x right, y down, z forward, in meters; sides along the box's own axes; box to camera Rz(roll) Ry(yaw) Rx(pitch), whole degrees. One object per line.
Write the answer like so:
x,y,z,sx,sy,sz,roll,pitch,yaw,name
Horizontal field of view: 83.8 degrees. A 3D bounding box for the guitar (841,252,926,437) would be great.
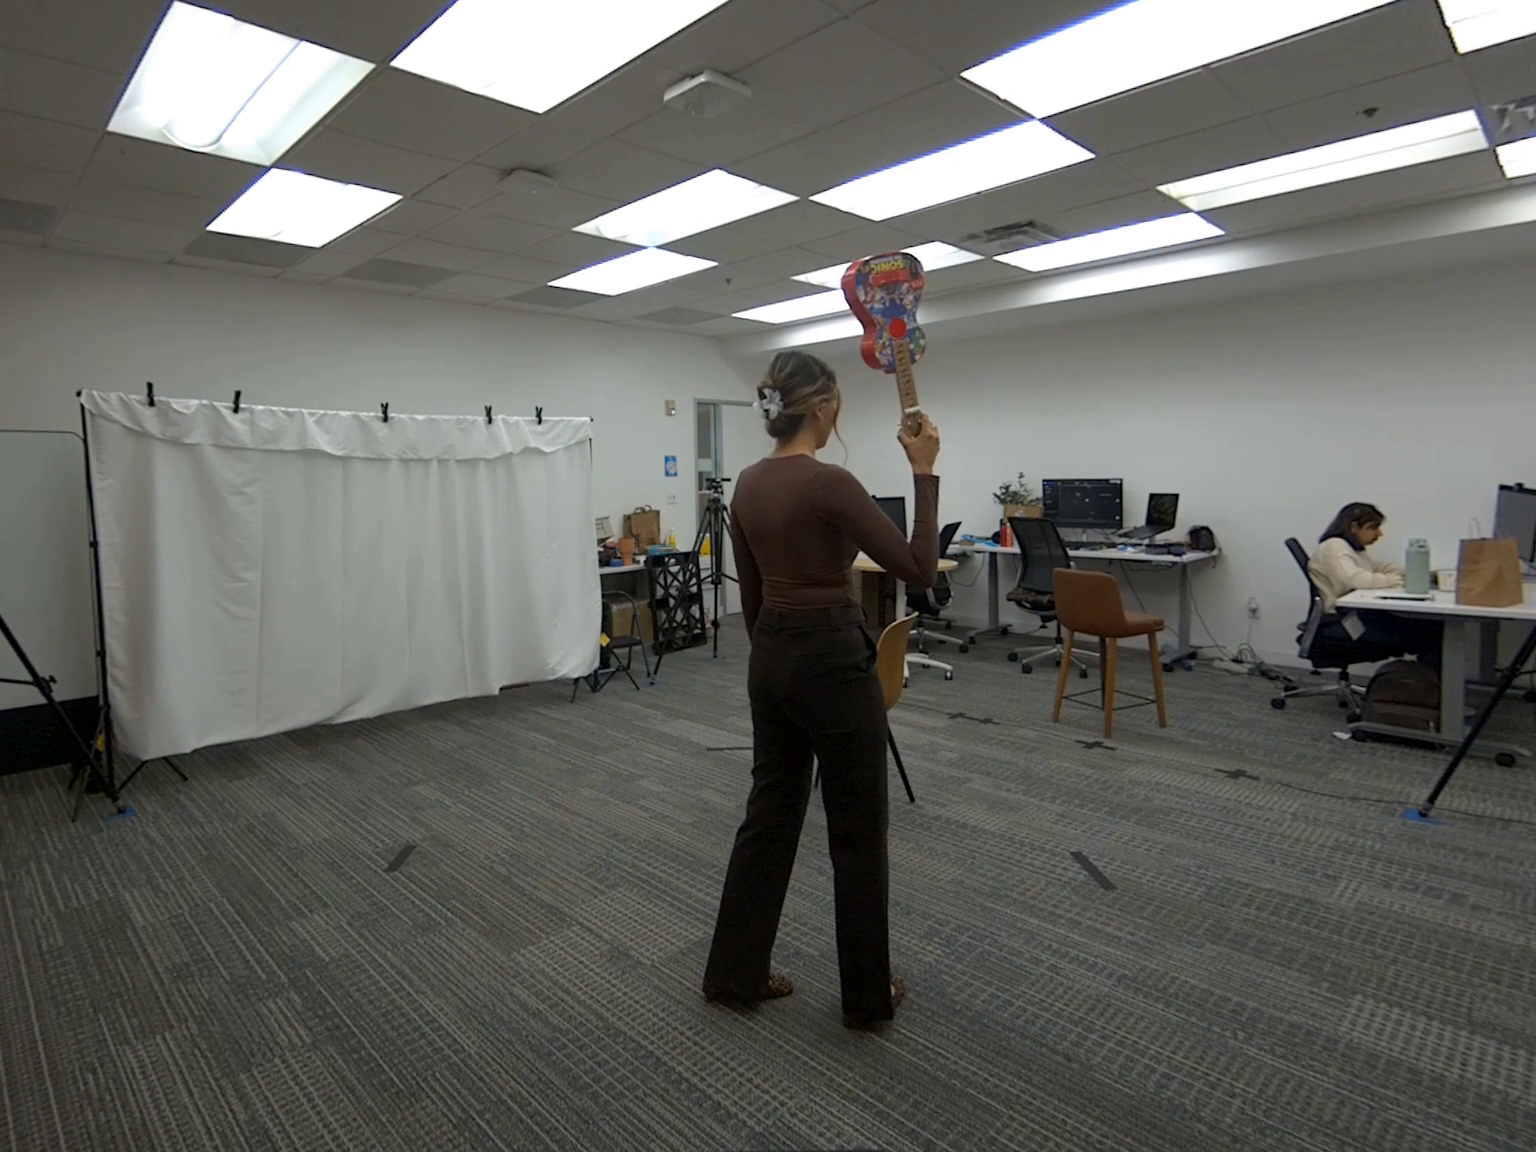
0.286,-0.511,2.027,0.190,0.494,0.072,-7,9,-19,guitar
